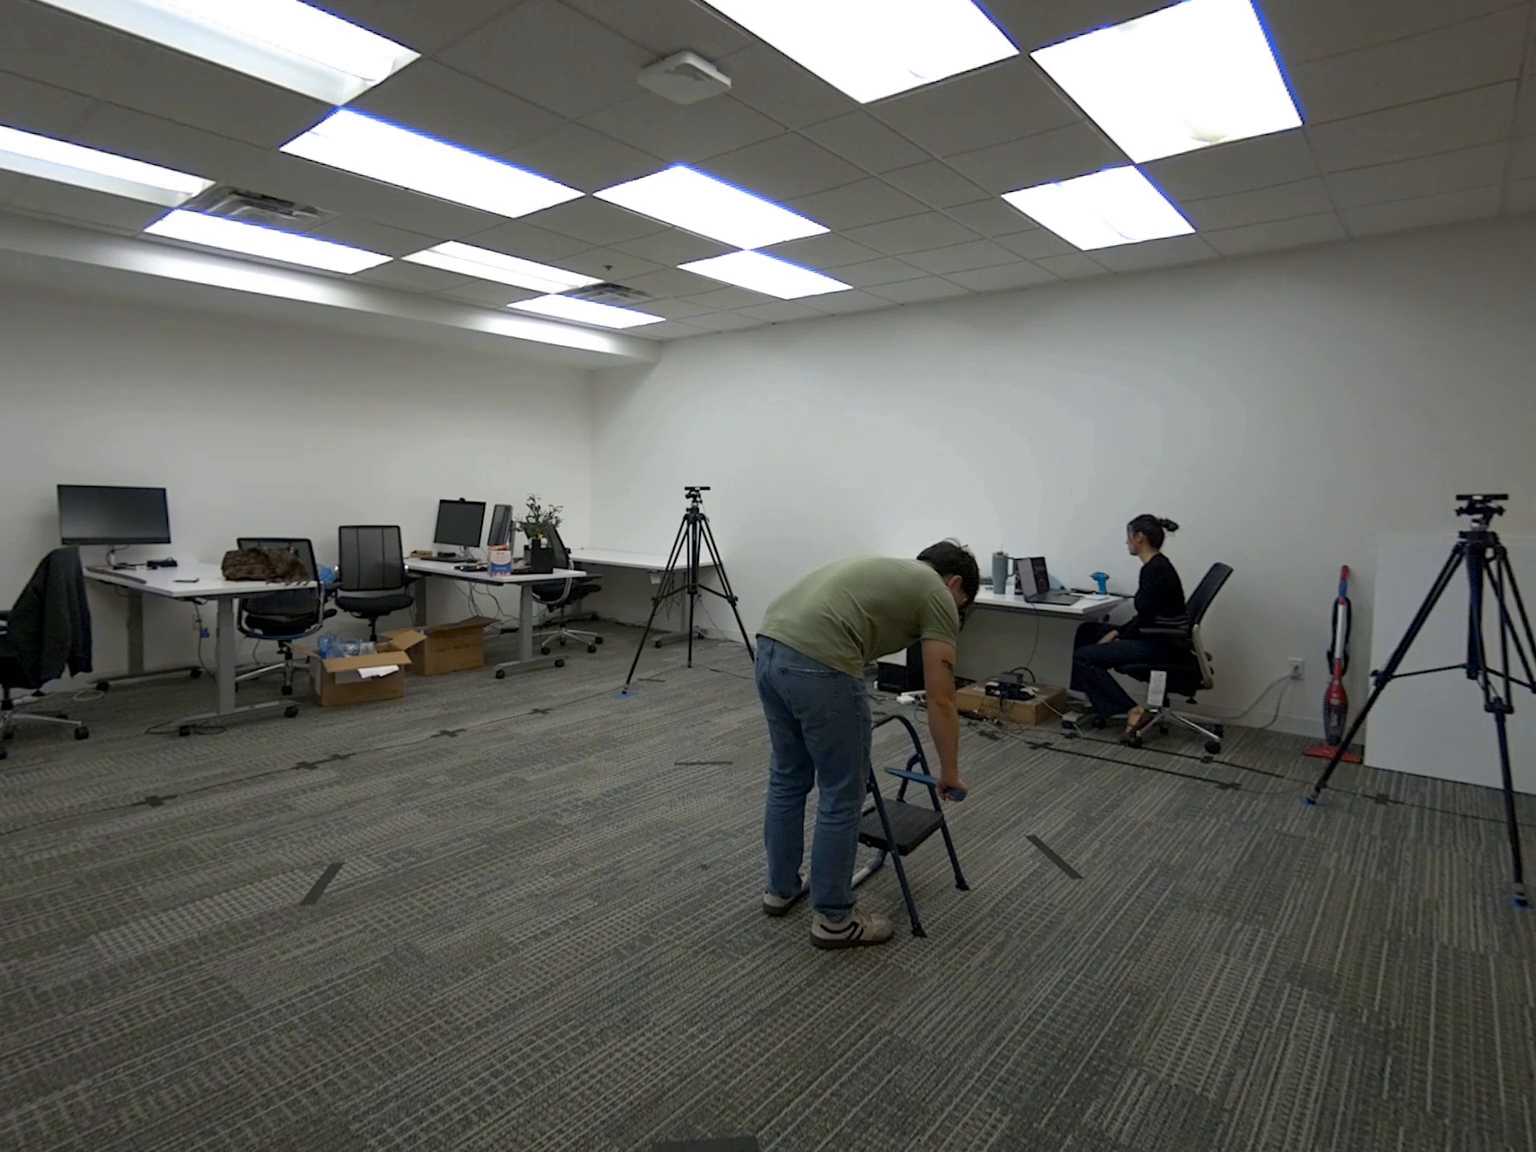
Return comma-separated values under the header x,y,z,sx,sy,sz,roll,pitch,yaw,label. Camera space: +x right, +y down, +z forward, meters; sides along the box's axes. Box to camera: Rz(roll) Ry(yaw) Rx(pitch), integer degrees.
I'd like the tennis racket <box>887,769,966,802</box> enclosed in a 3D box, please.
x,y,z,sx,sy,sz,roll,pitch,yaw,label
0.504,0.667,2.821,0.211,0.032,0.437,13,-6,-13,tennis racket
